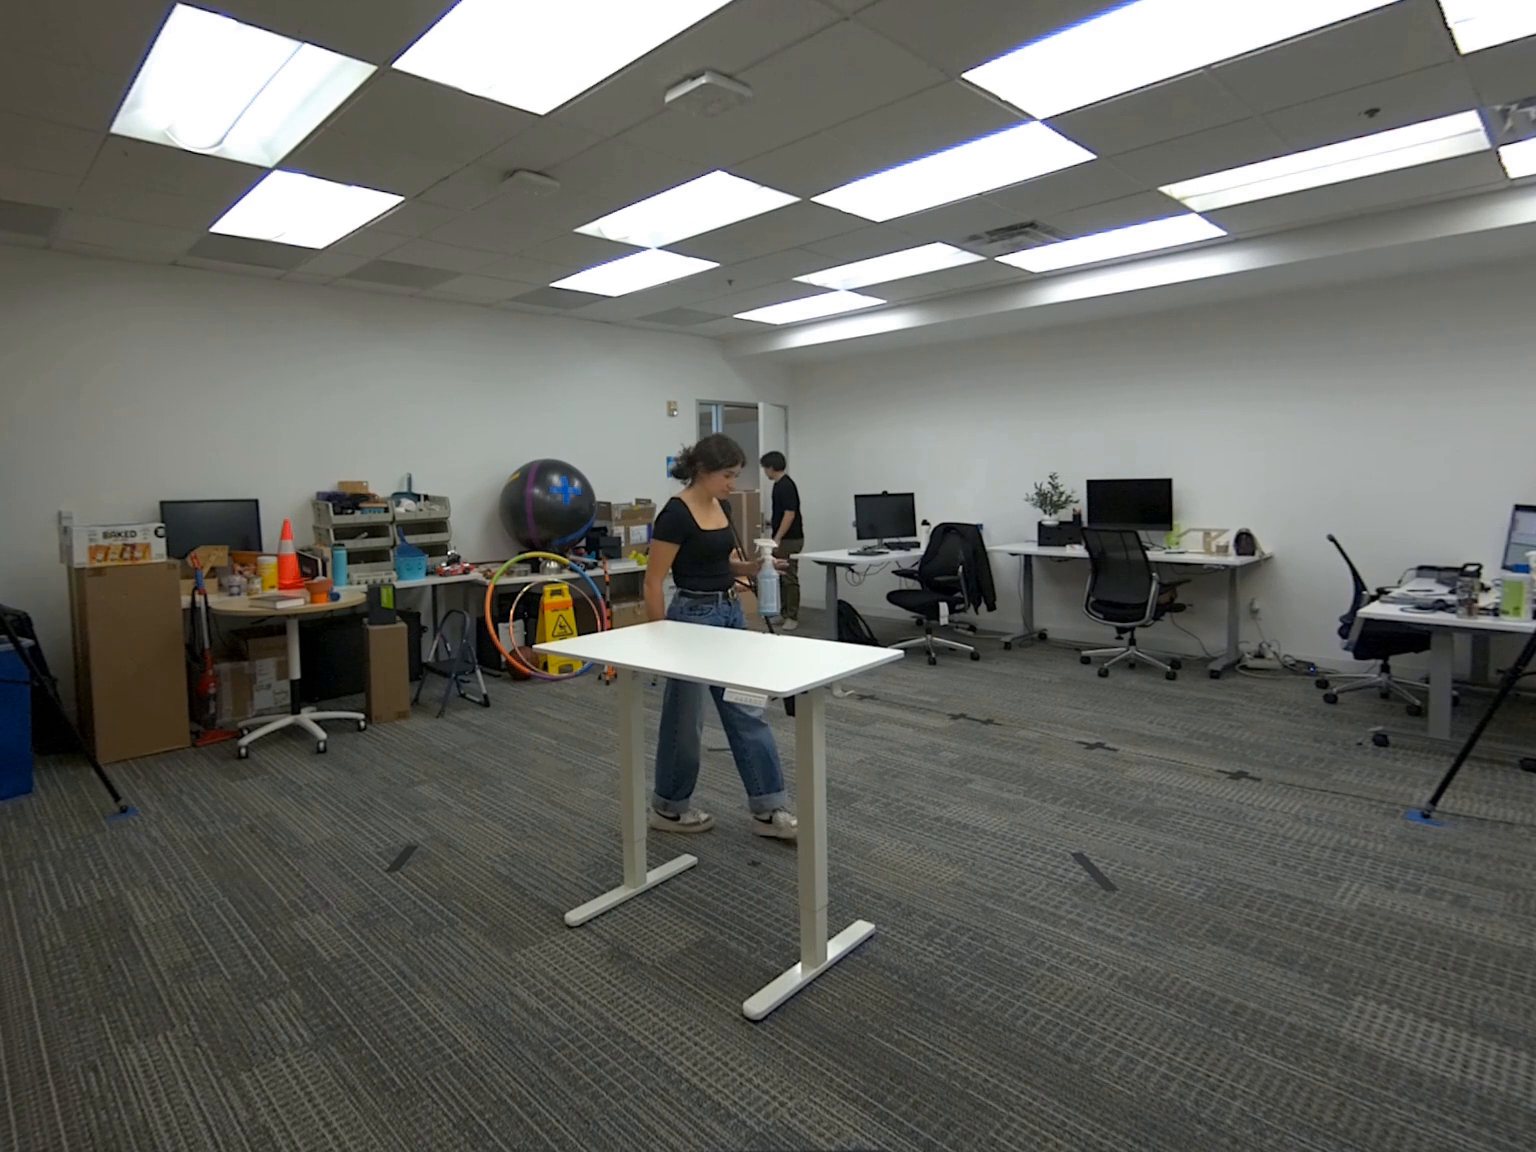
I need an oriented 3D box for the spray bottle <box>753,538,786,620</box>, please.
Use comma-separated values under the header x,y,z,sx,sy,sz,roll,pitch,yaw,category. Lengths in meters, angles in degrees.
x,y,z,sx,sy,sz,roll,pitch,yaw,category
-0.002,0.003,3.339,0.092,0.297,0.085,-4,0,30,spray bottle
